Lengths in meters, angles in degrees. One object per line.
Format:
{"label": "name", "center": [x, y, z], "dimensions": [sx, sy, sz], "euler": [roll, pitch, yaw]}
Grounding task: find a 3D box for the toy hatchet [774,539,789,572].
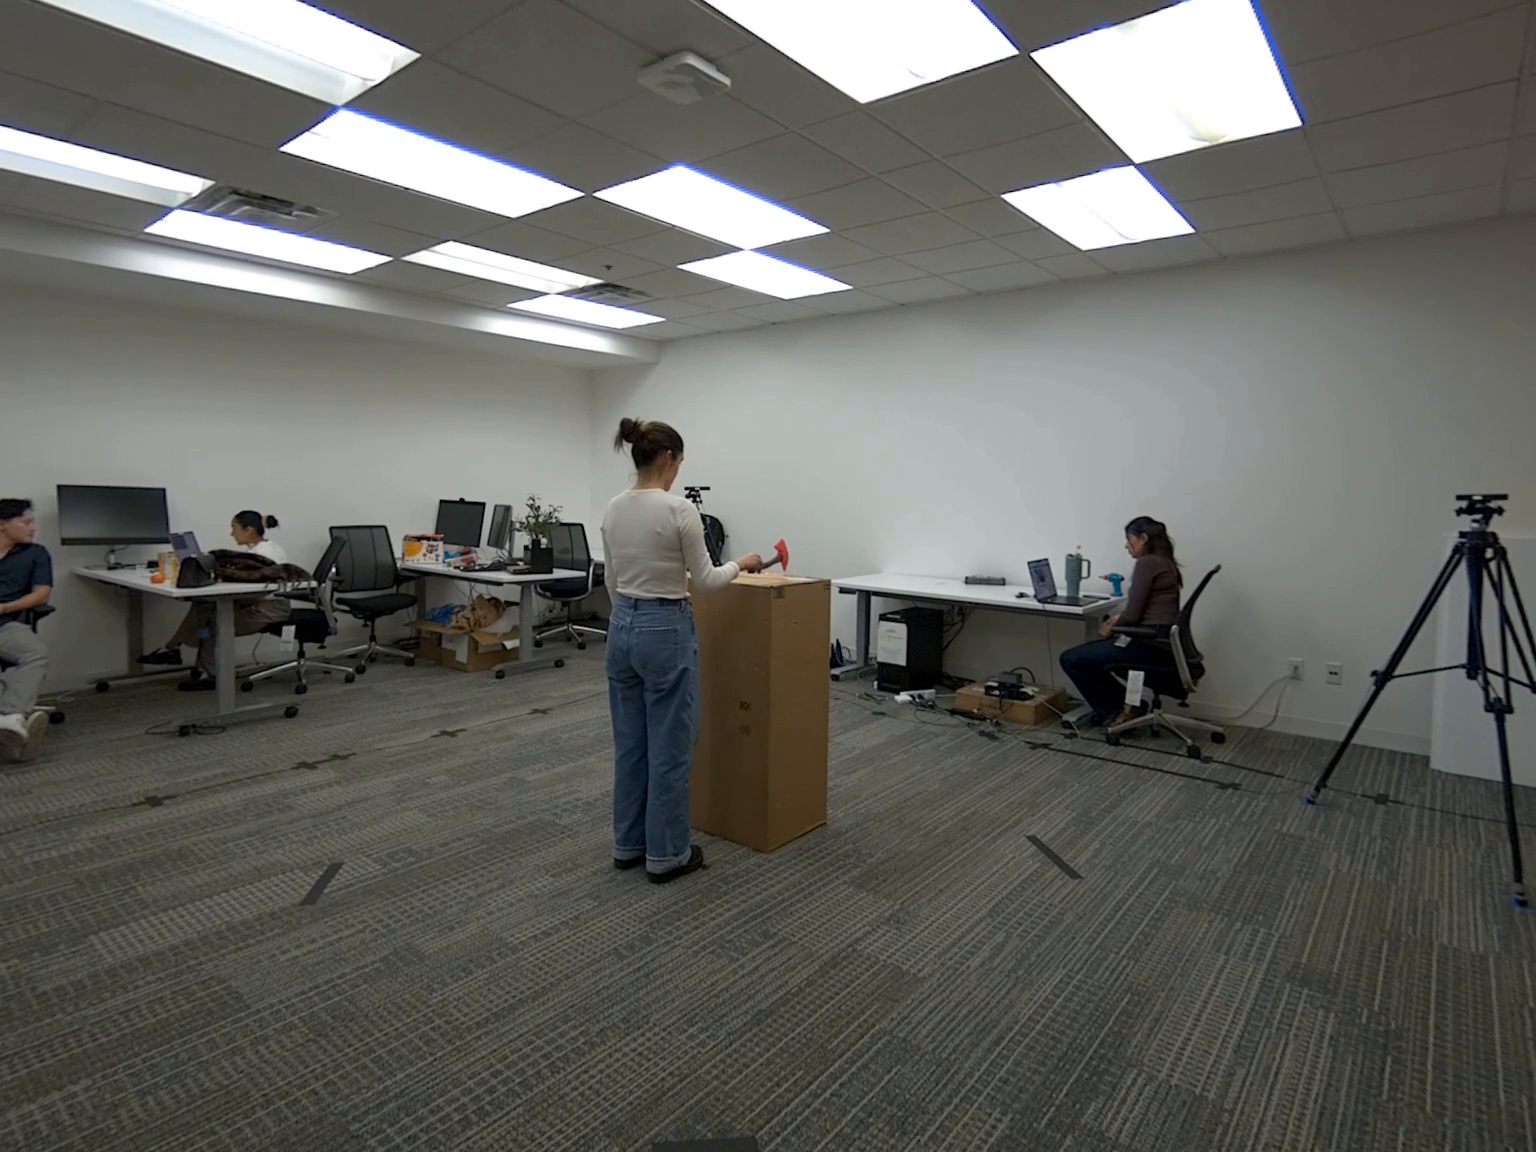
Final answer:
{"label": "toy hatchet", "center": [-0.005, -0.081, 3.318], "dimensions": [0.030, 0.131, 0.262], "euler": [7, 4, 35]}
